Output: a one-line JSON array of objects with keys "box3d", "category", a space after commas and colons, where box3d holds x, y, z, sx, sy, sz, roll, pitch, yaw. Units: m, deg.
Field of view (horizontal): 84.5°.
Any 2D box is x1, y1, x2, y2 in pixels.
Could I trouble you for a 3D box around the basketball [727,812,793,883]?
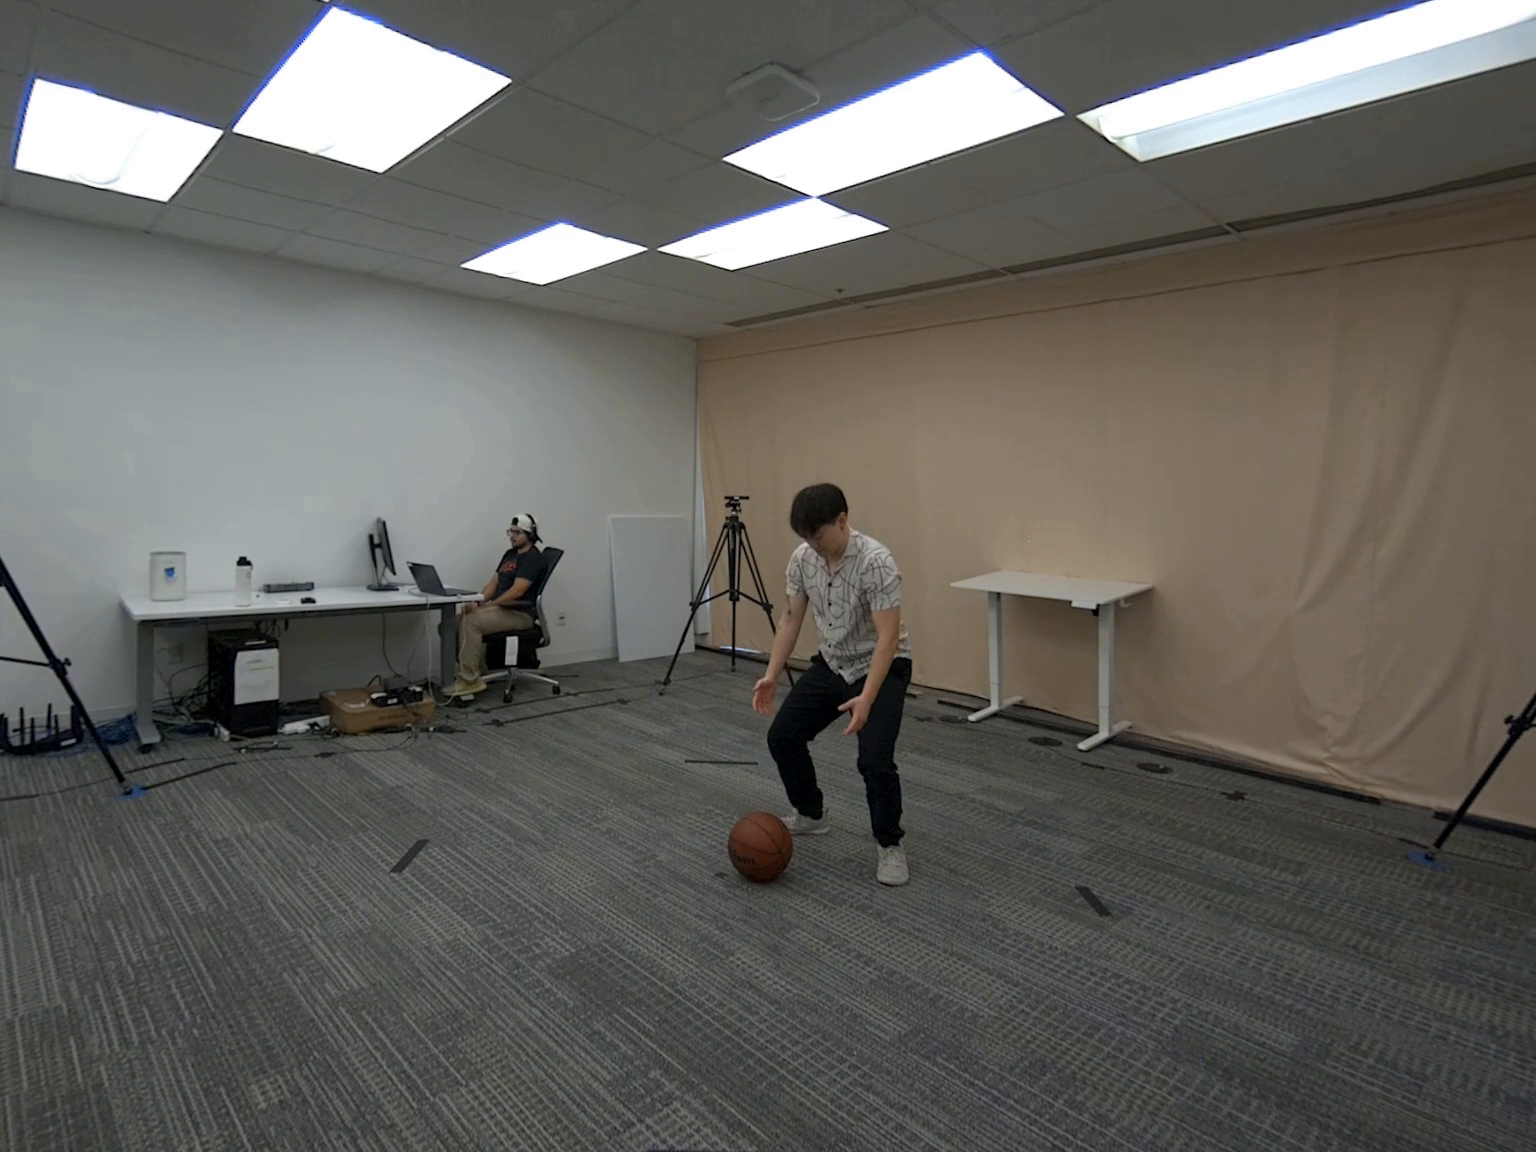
[{"box3d": [-0.038, 0.985, 3.083, 0.236, 0.235, 0.237, 1, 4, -1], "category": "basketball"}]
